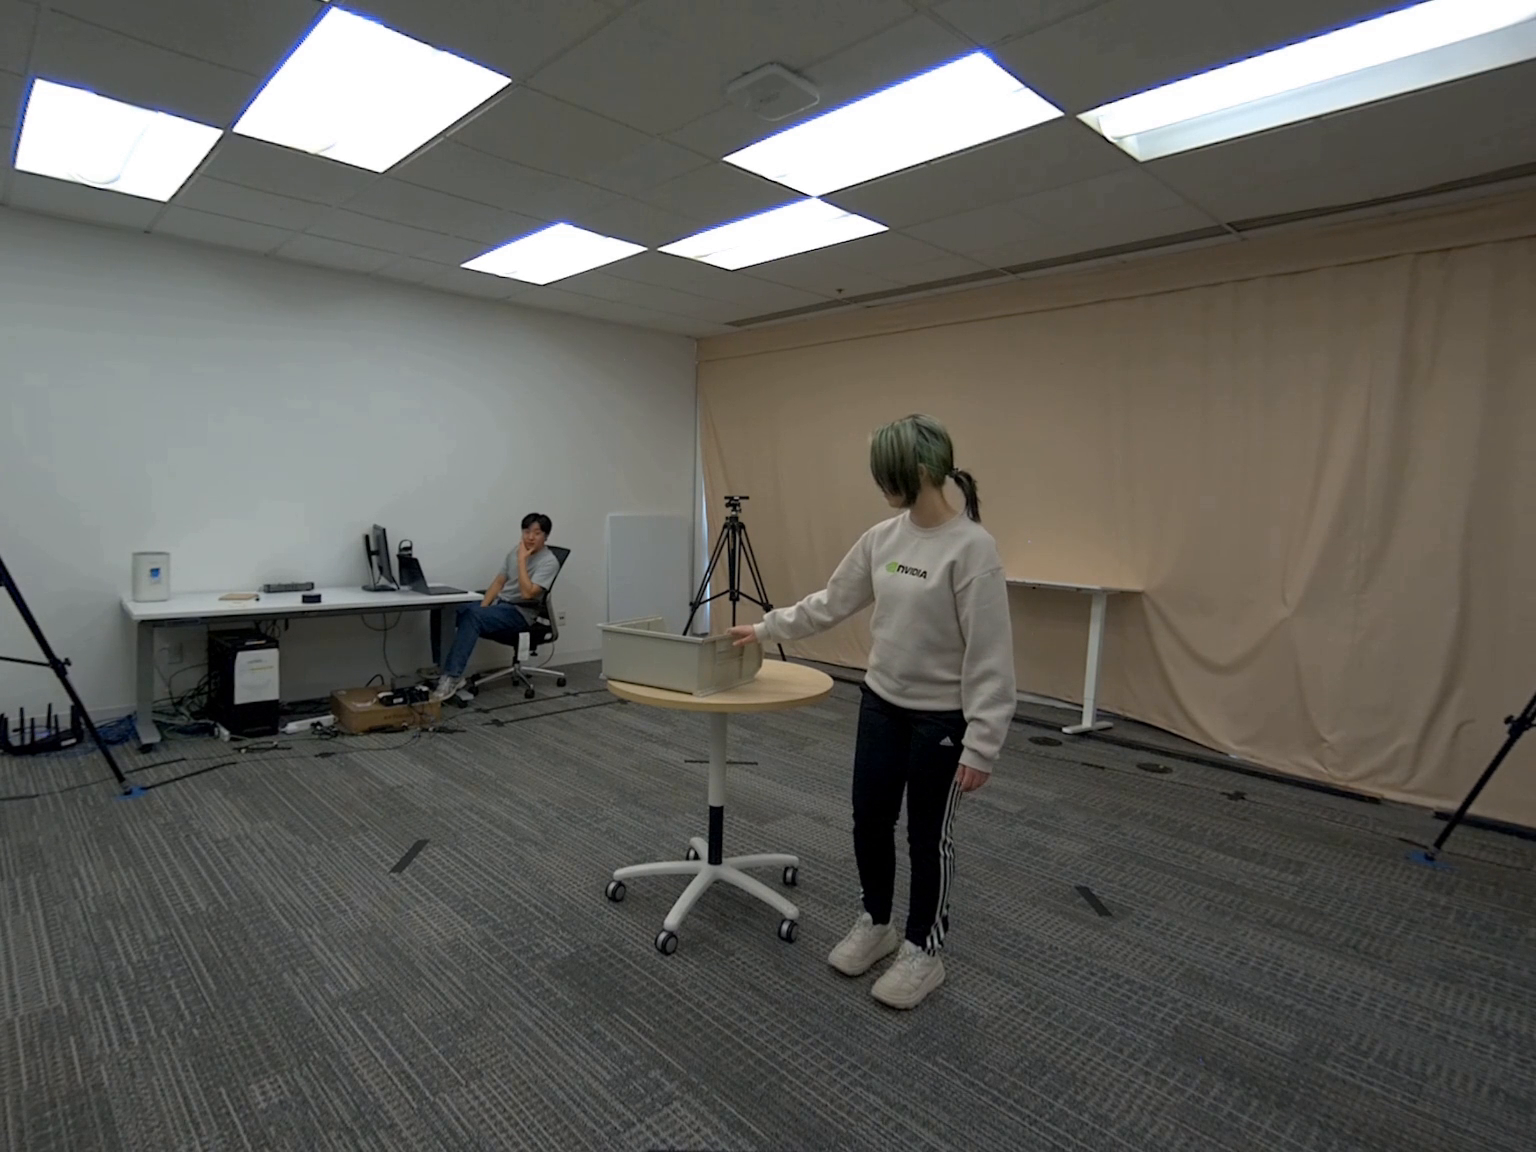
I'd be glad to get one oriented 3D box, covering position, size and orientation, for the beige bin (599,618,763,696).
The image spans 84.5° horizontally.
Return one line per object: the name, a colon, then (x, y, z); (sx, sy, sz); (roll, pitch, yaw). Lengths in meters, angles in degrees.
beige bin: (-0.292, 0.255, 2.790); (0.432, 0.188, 0.370); (5, 7, 32)
